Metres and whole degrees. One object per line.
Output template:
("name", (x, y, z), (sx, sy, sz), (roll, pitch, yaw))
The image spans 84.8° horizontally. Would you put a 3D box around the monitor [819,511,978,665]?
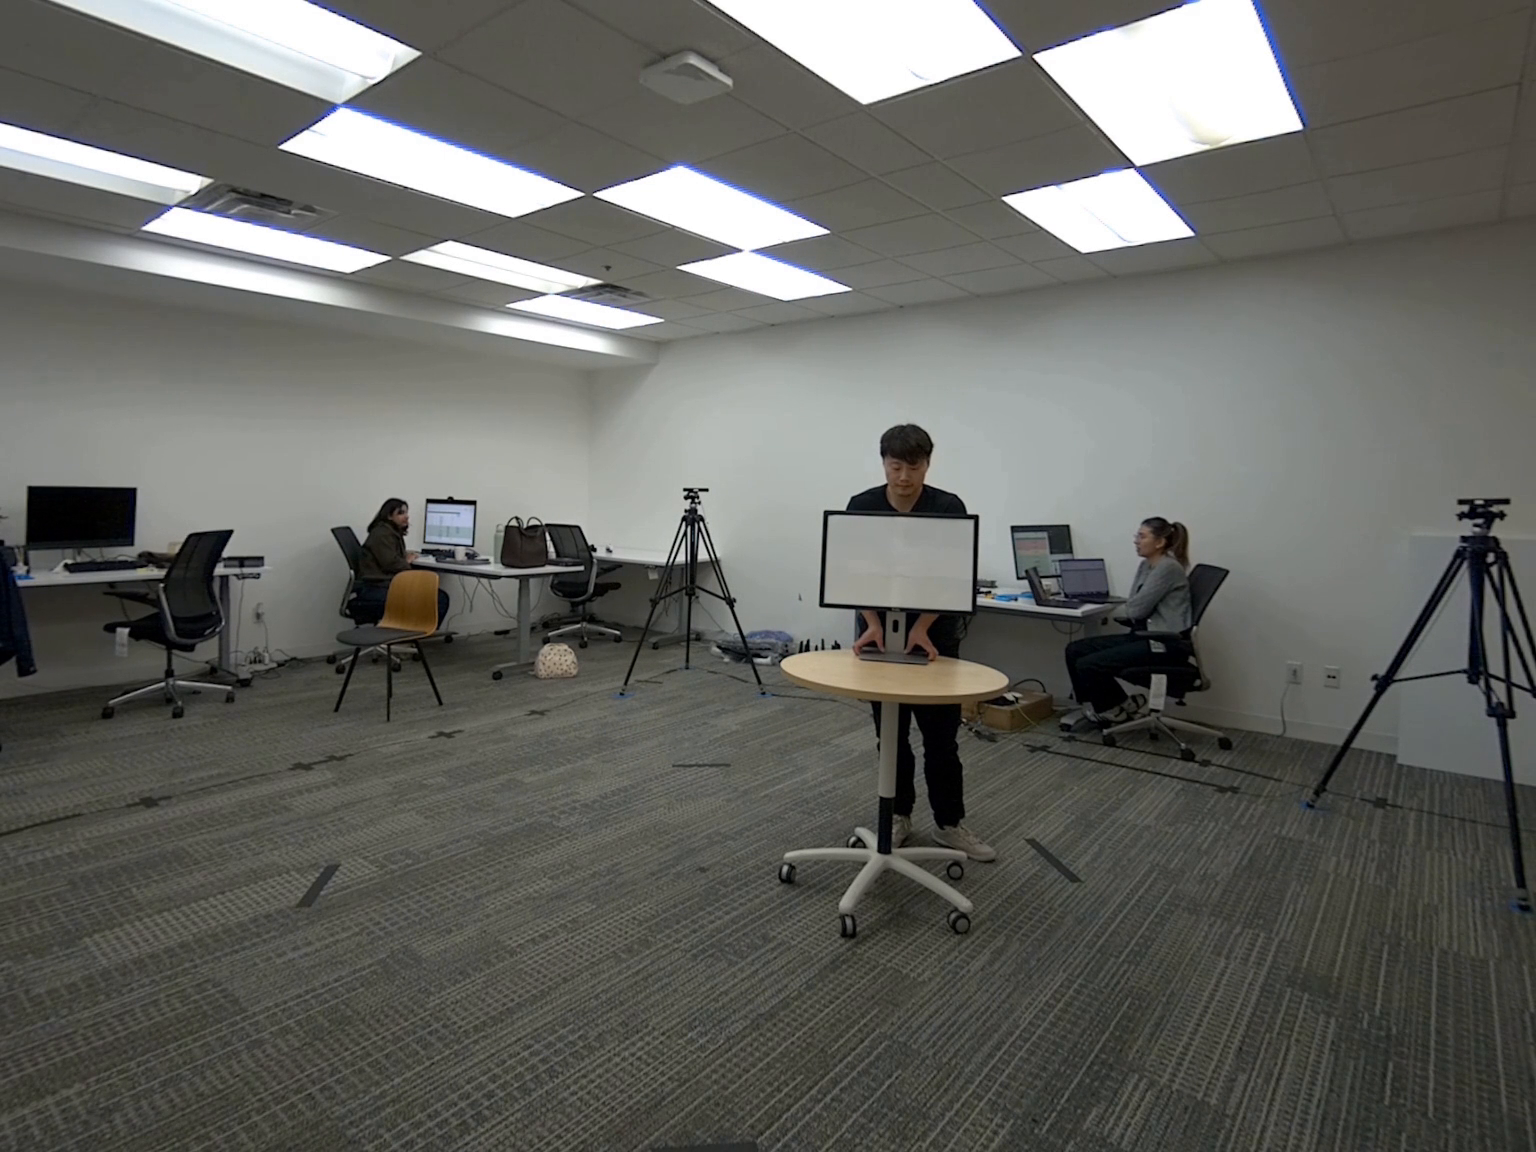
("monitor", (0.478, 0.031, 3.144), (0.547, 0.520, 0.185), (3, 5, 13))
